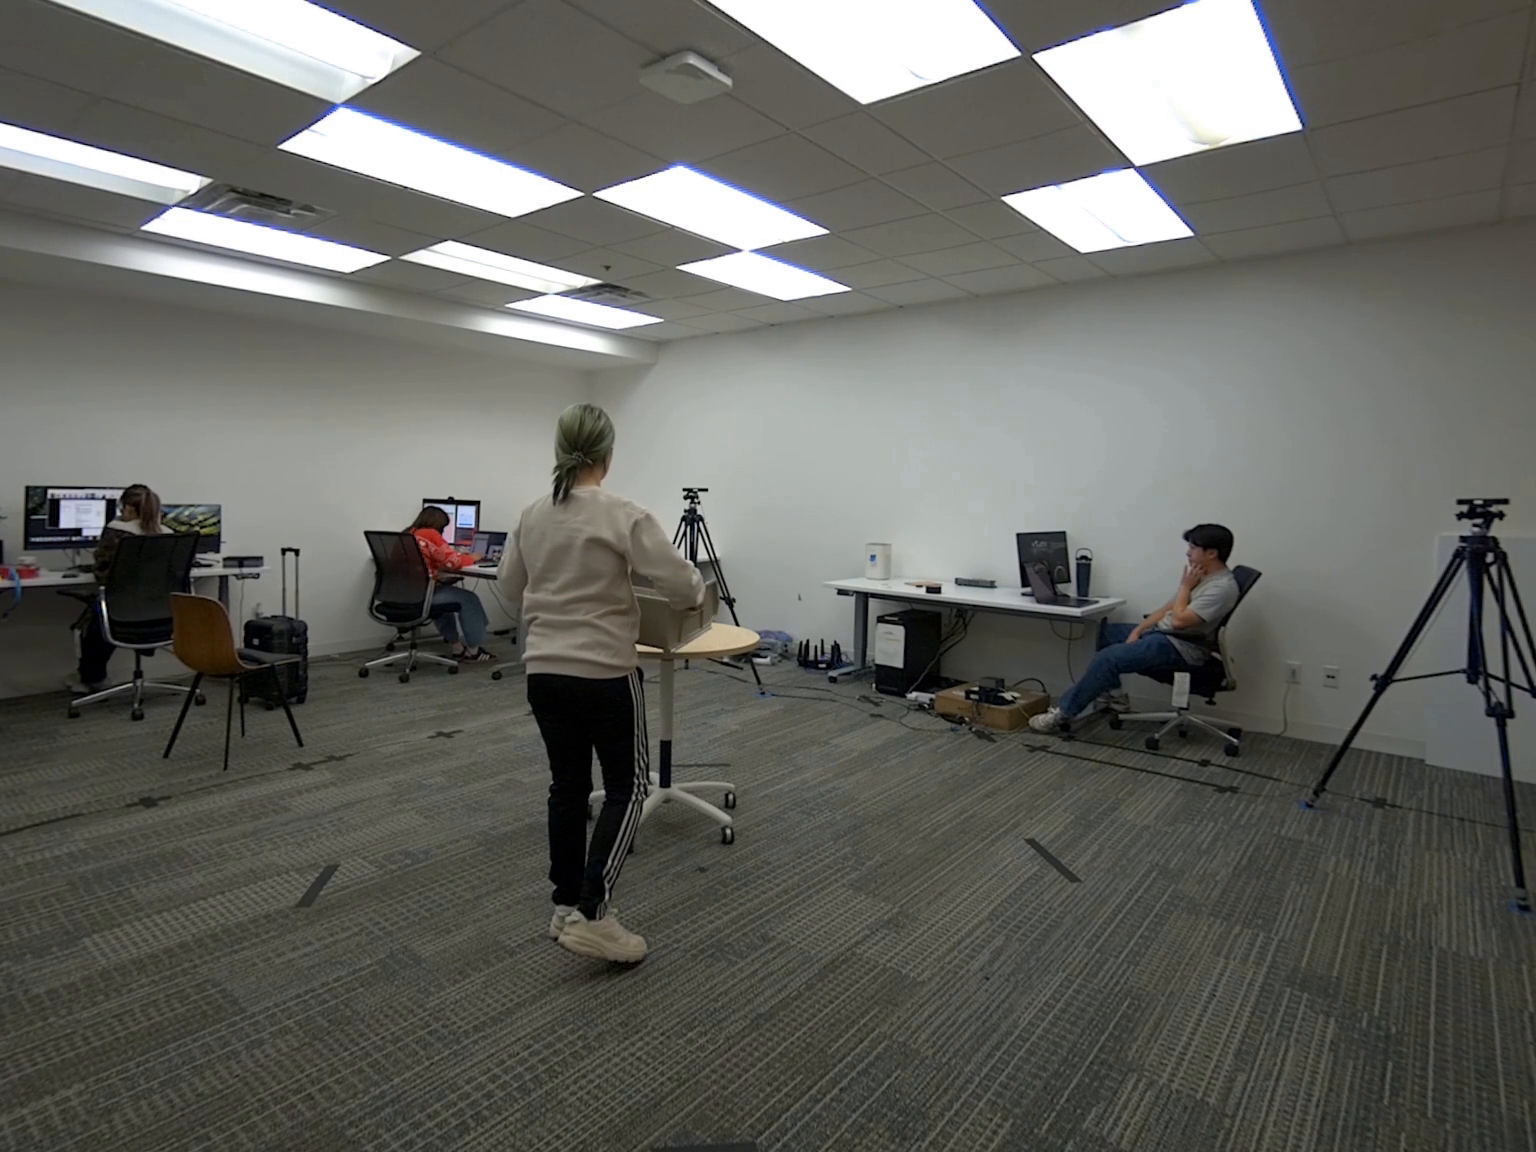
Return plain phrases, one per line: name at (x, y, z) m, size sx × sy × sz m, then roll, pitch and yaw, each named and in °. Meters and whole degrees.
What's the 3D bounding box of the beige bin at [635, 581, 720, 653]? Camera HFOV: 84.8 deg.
beige bin at (-0.438, 0.098, 2.946) m, size 0.433 × 0.187 × 0.372 m, roll 9°, pitch 15°, yaw 21°
